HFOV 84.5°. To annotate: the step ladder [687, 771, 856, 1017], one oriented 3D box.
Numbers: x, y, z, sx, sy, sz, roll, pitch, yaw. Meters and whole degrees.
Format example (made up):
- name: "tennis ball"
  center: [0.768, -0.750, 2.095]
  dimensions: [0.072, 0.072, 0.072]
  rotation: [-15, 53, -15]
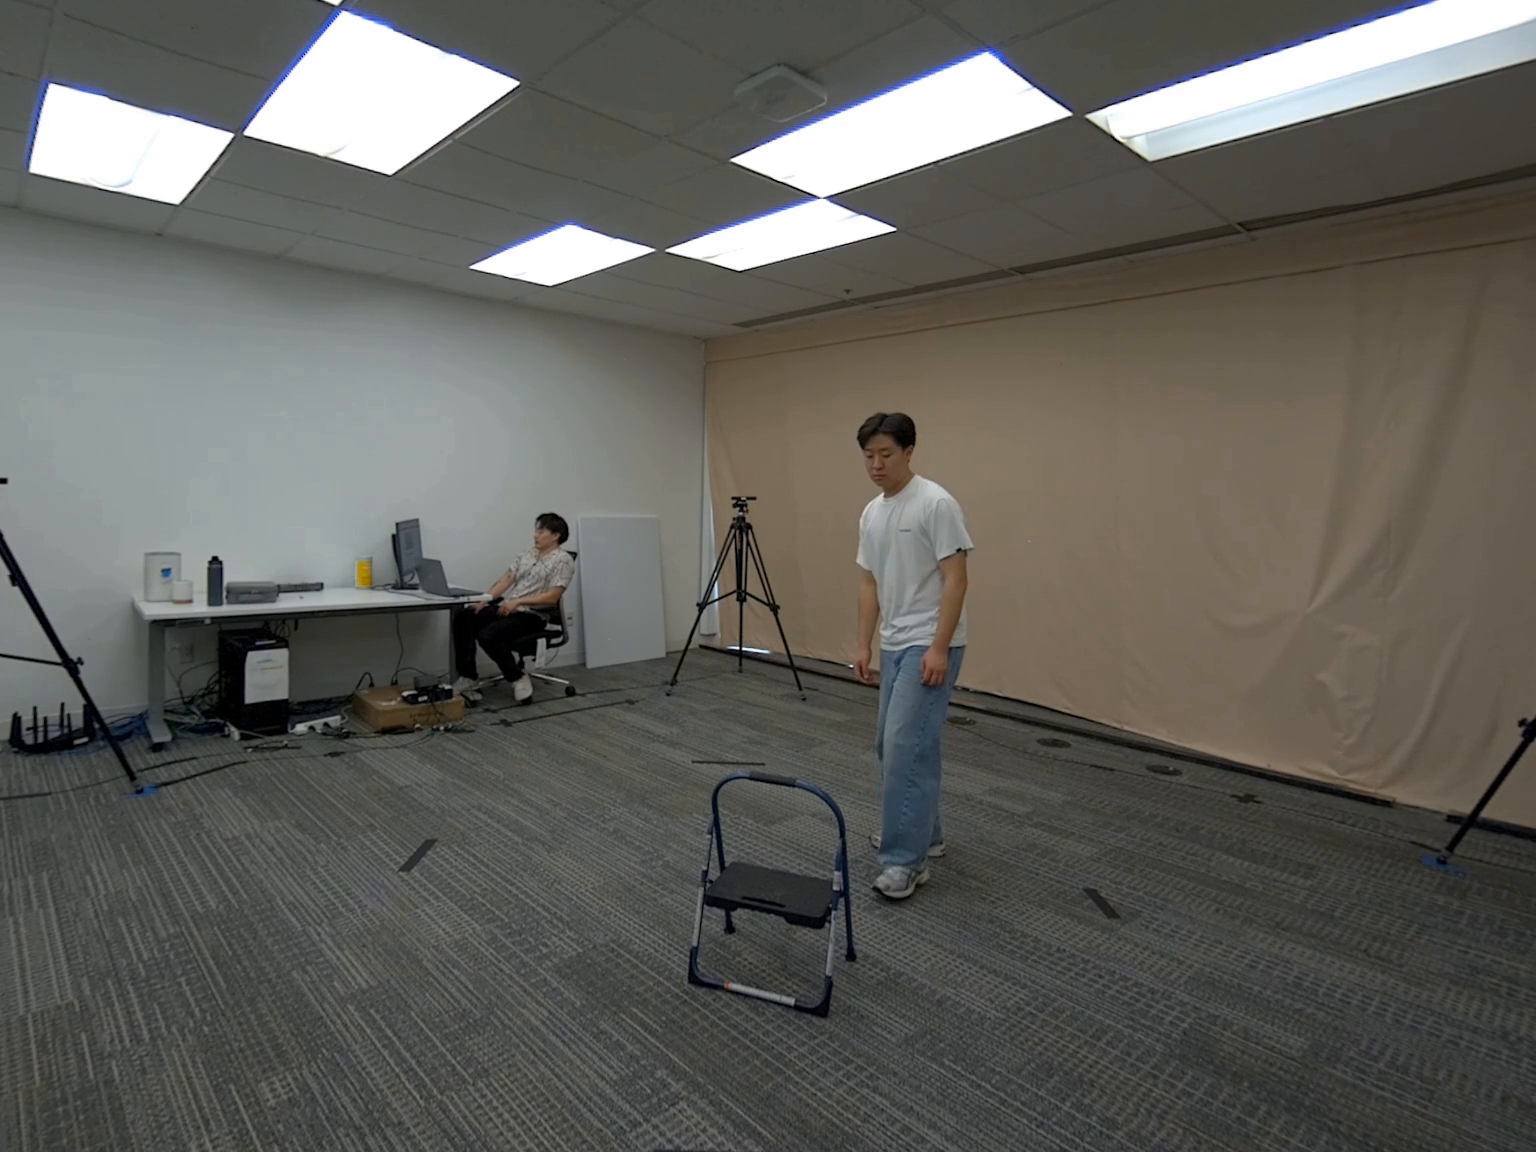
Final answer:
- name: "step ladder"
  center: [0.022, 0.865, 2.475]
  dimensions: [0.437, 0.604, 0.344]
  rotation: [3, 4, 19]
